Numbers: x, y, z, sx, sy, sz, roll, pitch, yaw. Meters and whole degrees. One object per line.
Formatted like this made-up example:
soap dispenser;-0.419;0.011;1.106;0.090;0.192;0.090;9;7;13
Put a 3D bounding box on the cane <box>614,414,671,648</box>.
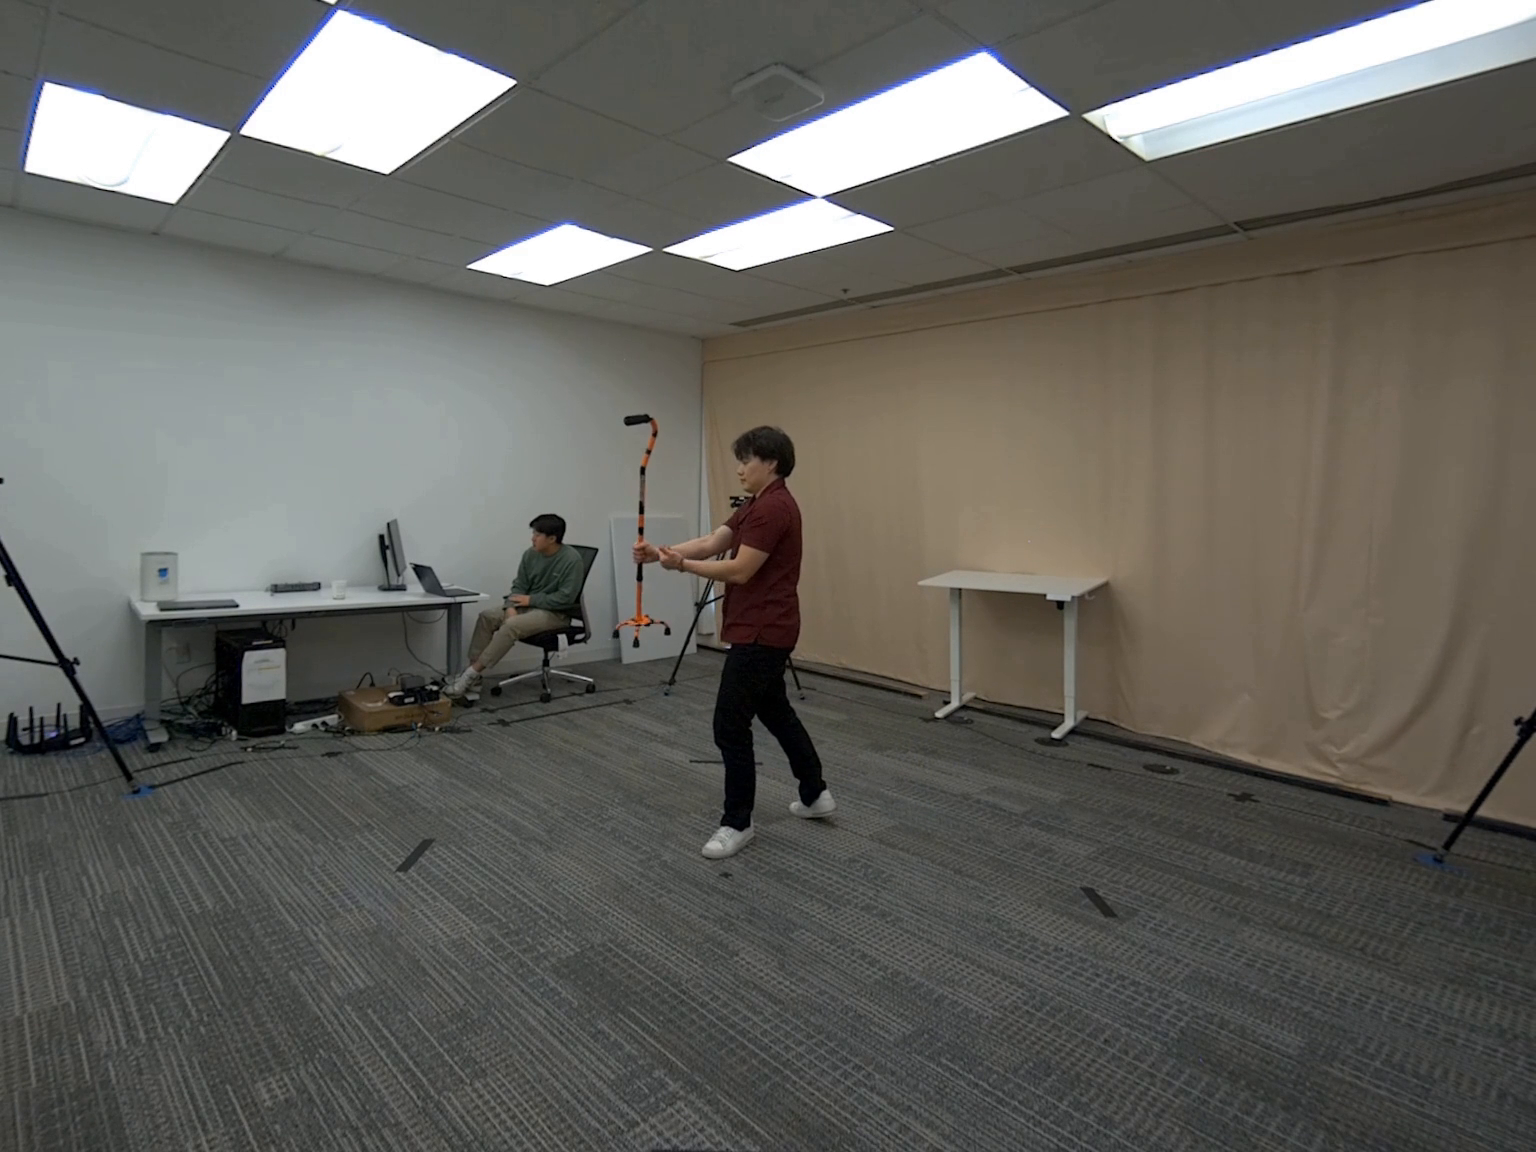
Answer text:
cane;-0.495;-0.182;3.310;0.156;0.896;0.203;21;25;39
